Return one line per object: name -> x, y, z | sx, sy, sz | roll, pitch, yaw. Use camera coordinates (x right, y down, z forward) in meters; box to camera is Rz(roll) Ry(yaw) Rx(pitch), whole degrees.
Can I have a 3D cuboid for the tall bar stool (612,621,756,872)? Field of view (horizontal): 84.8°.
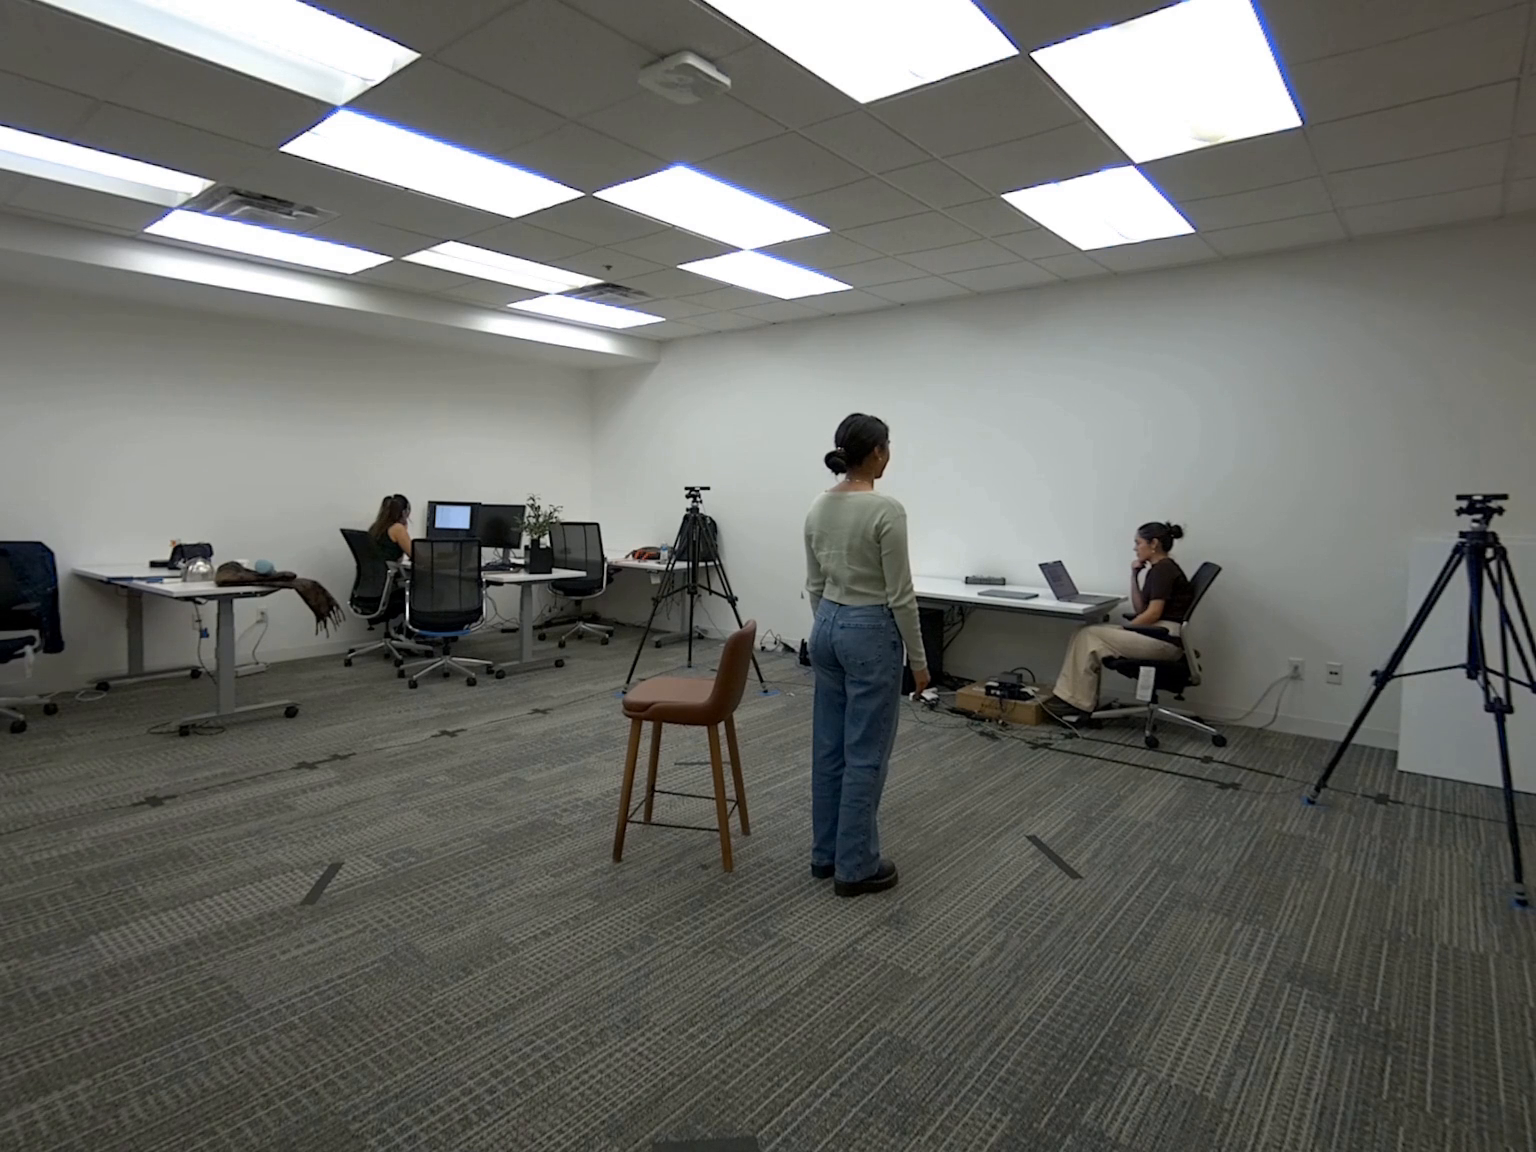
tall bar stool -> -0.315, 0.608, 3.279 | 0.474, 0.887, 0.451 | 4, 4, 12
